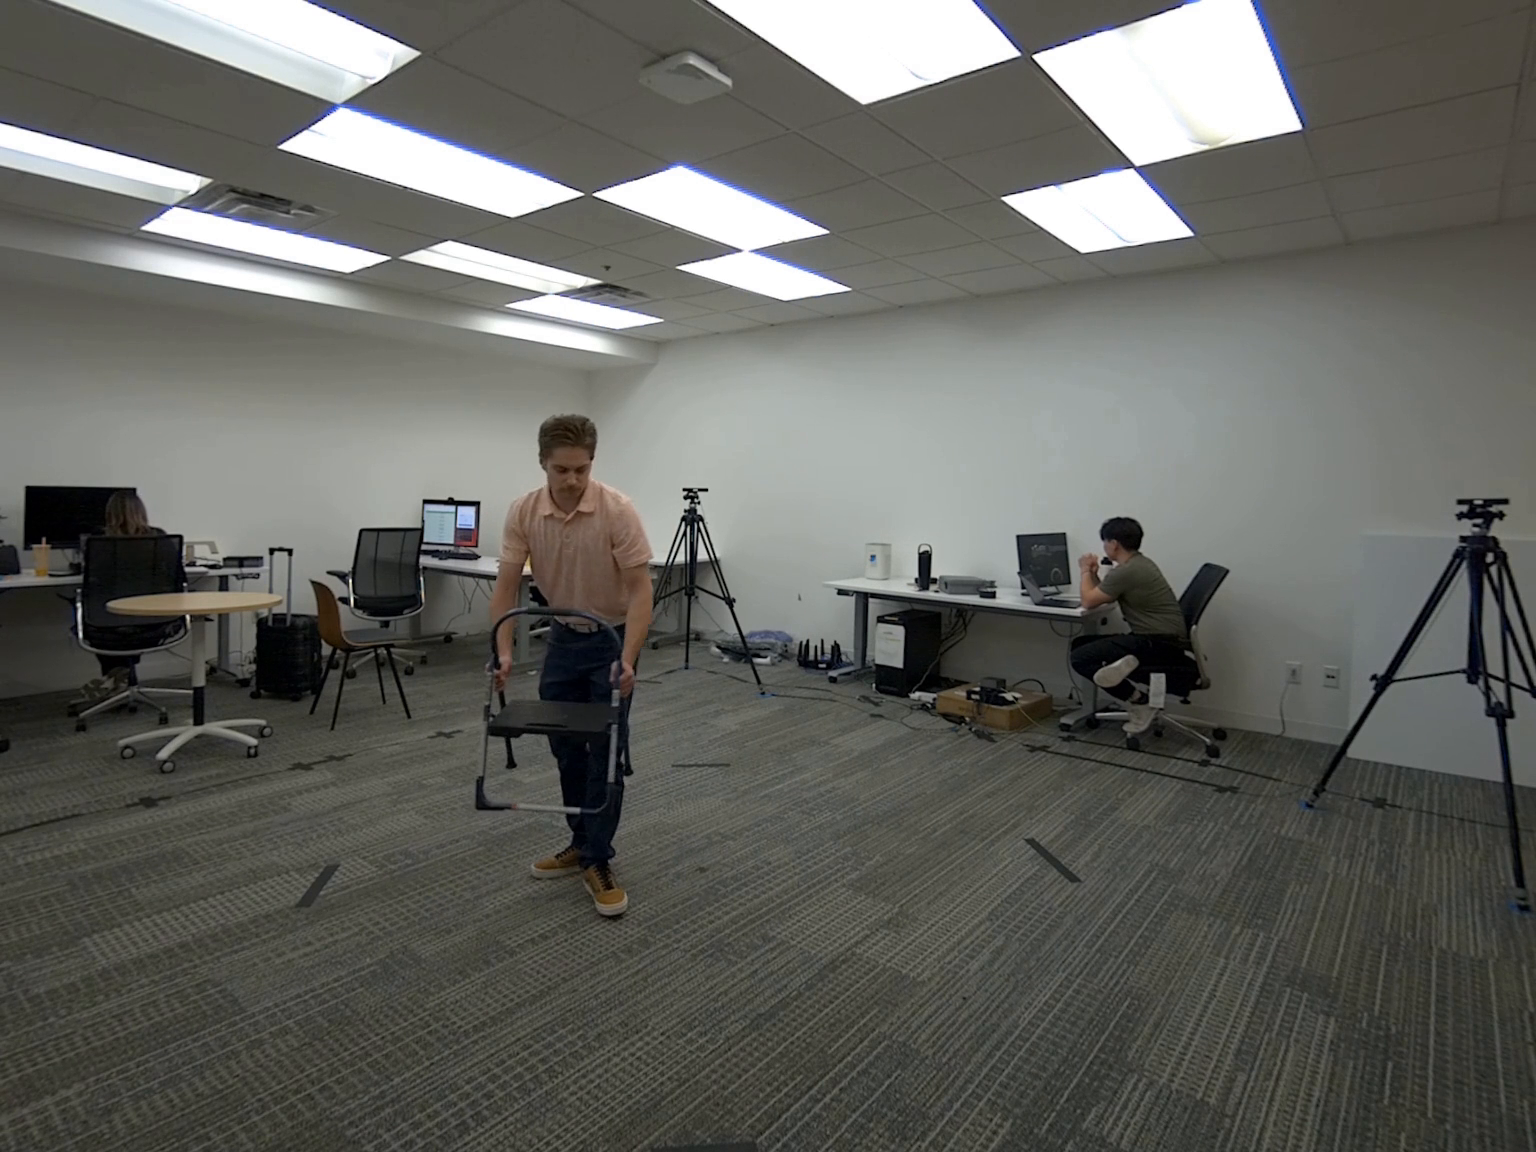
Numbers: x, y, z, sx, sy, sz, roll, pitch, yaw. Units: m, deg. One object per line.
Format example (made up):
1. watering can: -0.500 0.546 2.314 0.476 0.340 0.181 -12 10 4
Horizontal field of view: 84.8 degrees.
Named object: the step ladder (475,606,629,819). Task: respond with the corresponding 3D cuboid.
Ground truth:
1. step ladder: -0.668 0.389 2.648 0.432 0.601 0.351 3 8 2
